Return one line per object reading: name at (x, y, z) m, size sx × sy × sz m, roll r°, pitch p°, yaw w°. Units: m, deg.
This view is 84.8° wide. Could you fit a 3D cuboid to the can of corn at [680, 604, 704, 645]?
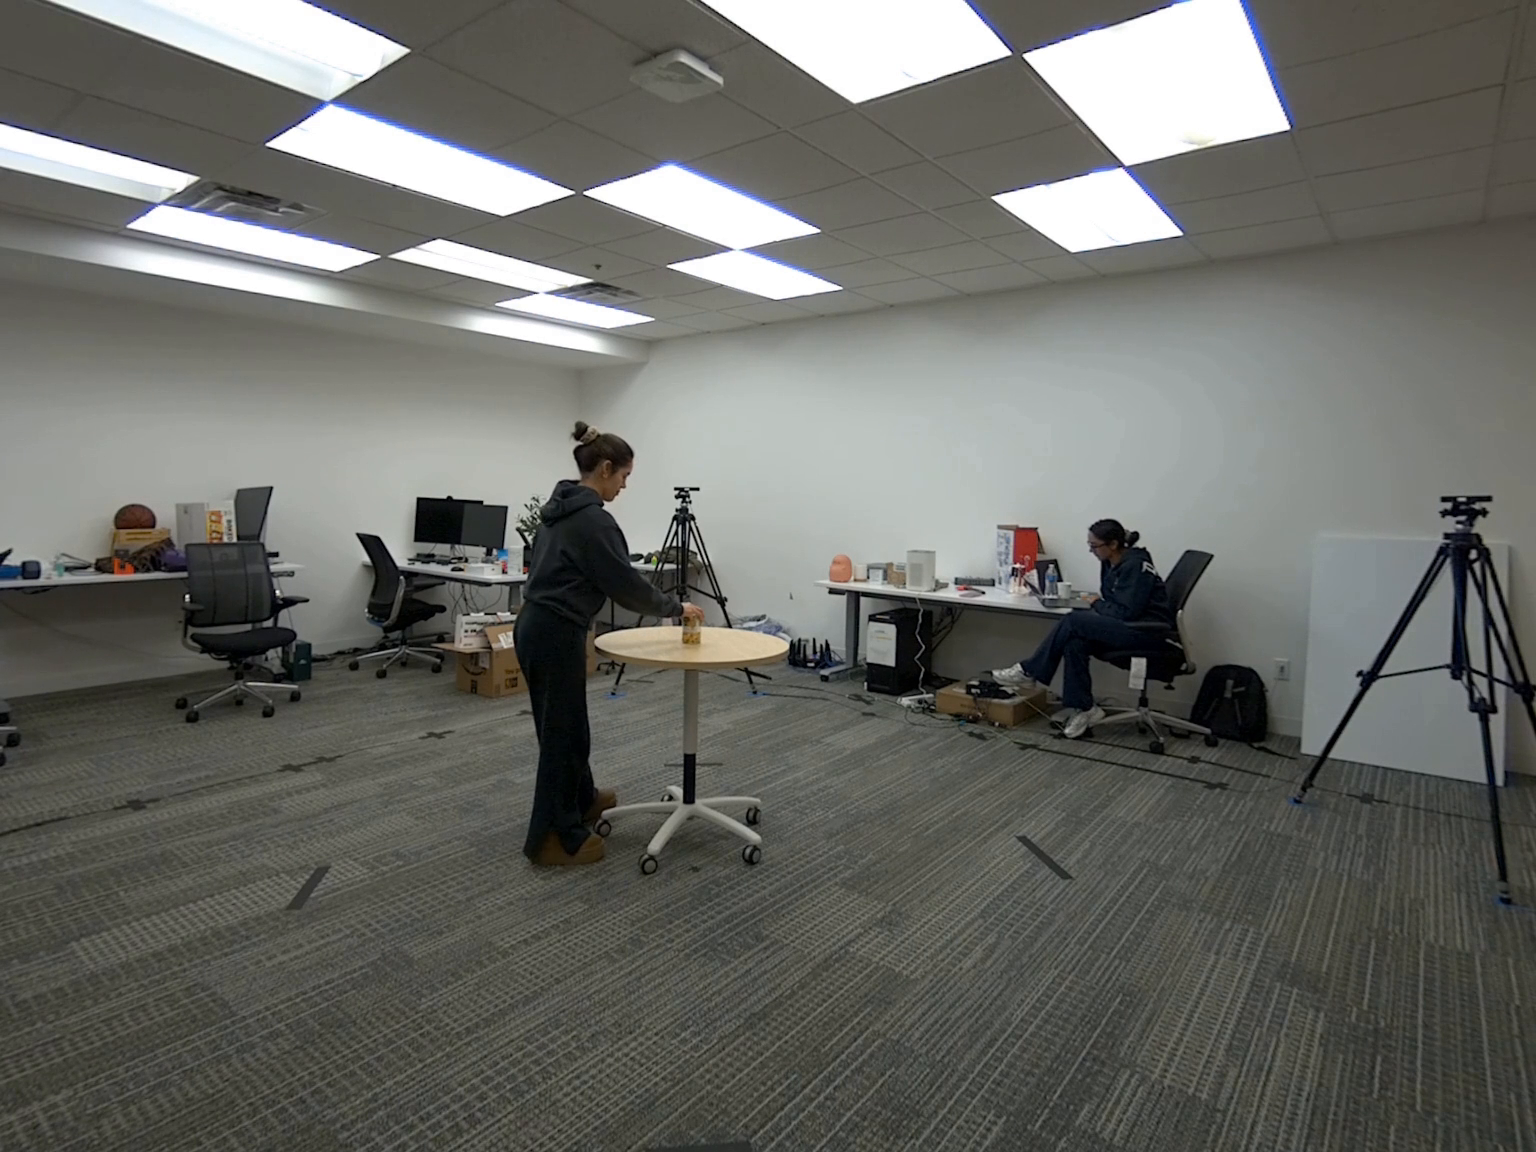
can of corn at (-0.307, 0.204, 3.334) m, size 0.074 × 0.110 × 0.074 m, roll 0°, pitch 4°, yaw -2°
